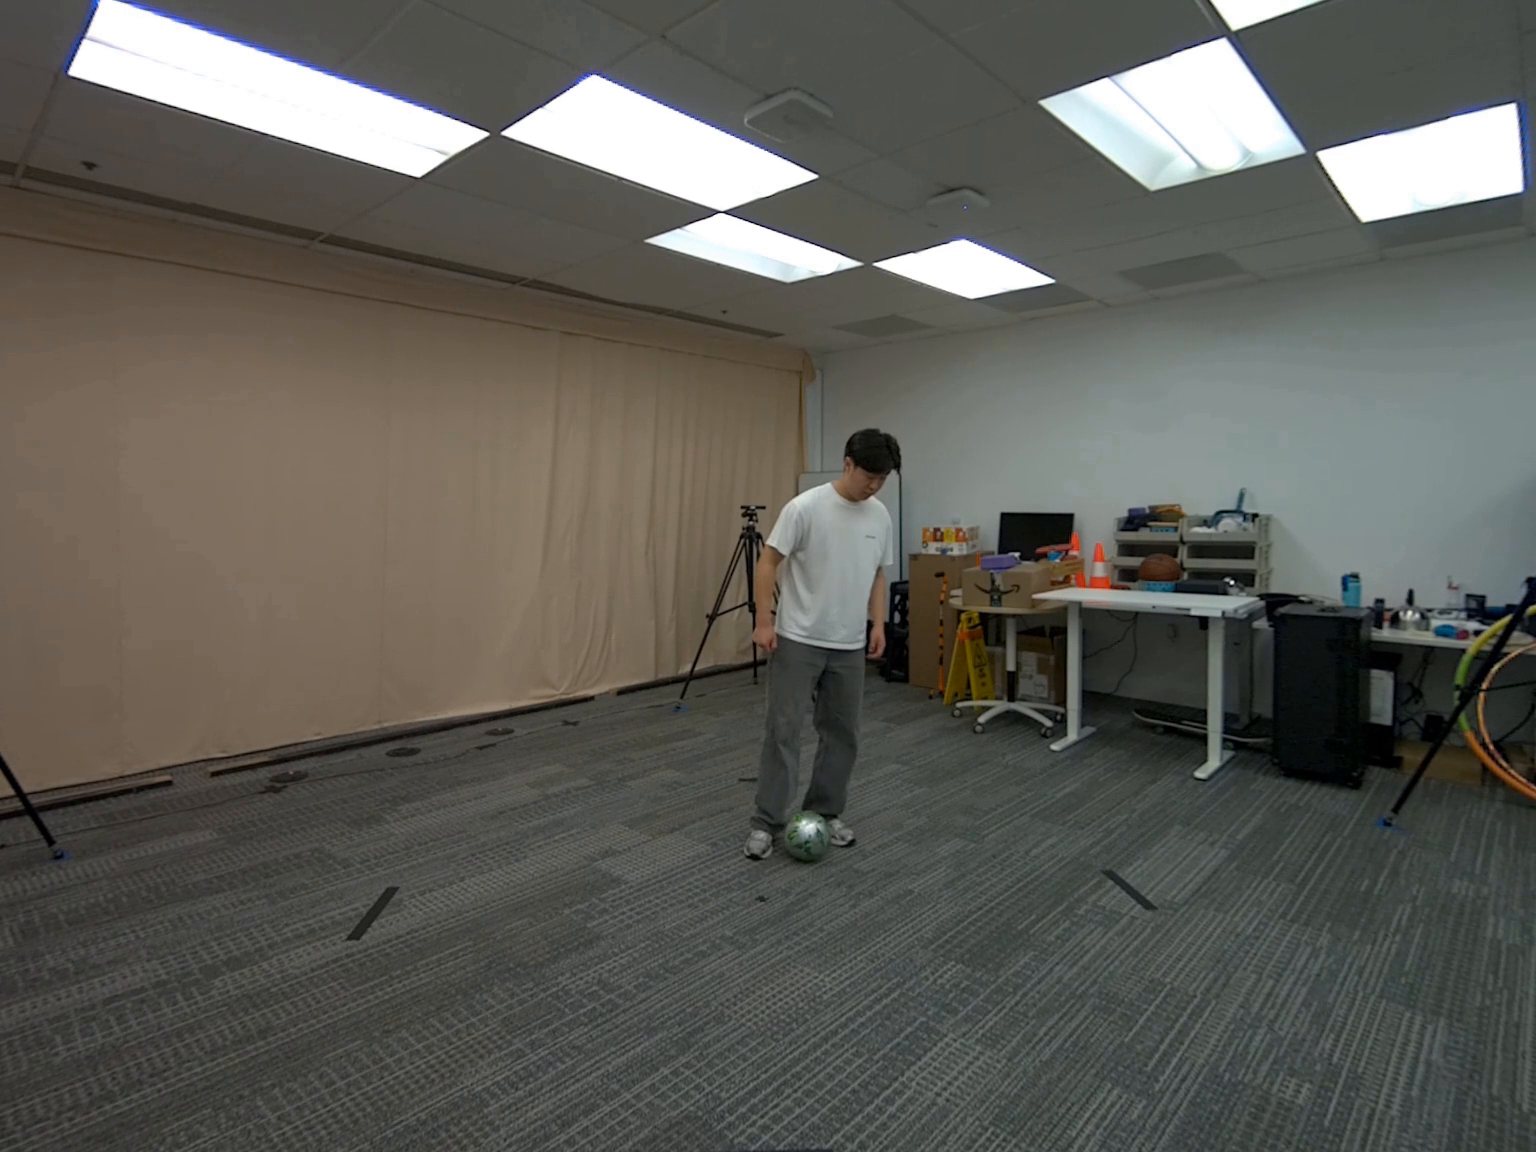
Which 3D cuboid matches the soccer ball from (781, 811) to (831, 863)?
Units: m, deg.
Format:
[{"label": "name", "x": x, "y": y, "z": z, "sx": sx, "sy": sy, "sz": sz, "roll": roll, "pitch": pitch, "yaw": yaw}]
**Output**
[{"label": "soccer ball", "x": 0.155, "y": 1.020, "z": 3.306, "sx": 0.187, "sy": 0.187, "sz": 0.188, "roll": 0, "pitch": 4, "yaw": -2}]
